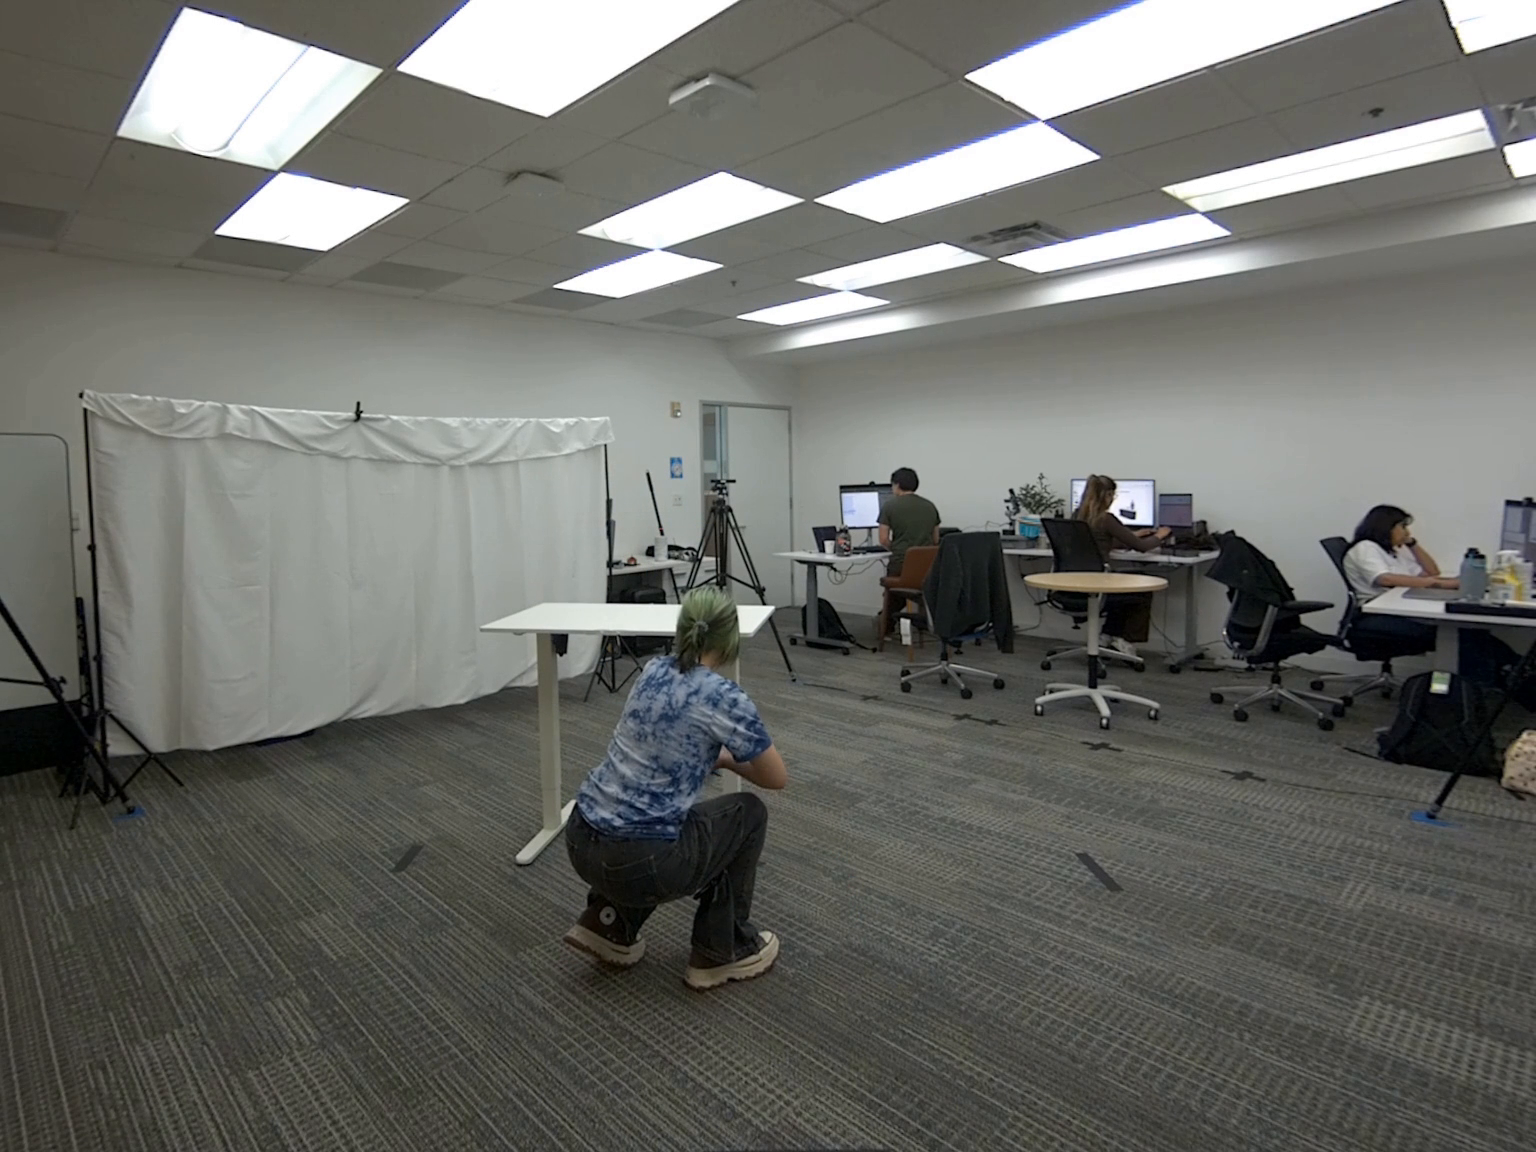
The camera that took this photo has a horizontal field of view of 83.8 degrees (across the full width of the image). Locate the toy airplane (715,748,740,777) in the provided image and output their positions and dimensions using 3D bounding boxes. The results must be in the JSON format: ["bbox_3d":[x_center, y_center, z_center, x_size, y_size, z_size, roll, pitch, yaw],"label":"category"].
[{"bbox_3d":[-0.246,0.553,2.678,0.259,0.252,0.156,0,-2,-2],"label":"toy airplane"}]
